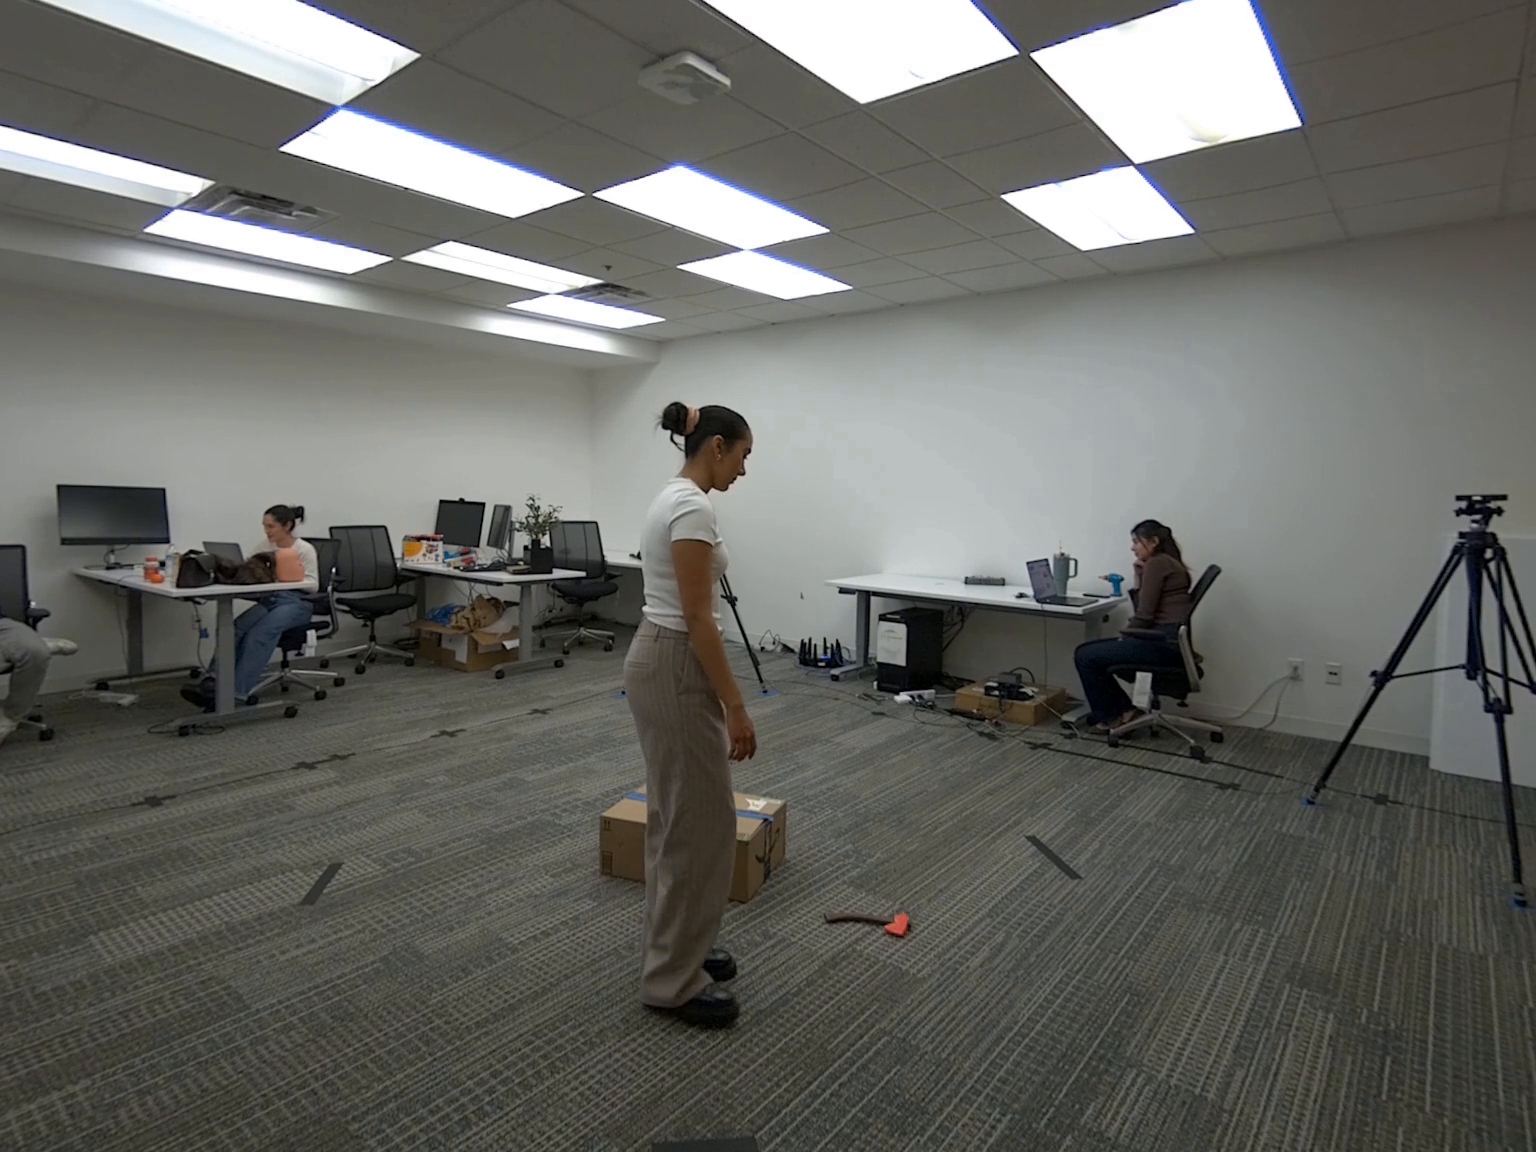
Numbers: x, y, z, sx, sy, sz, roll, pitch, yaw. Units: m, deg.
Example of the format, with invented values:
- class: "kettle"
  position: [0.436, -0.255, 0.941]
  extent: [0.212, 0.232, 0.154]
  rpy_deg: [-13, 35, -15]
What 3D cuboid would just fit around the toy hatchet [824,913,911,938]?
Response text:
- class: "toy hatchet"
  position: [0.319, 1.105, 2.702]
  extent: [0.269, 0.029, 0.132]
  rpy_deg: [-2, 9, -4]
